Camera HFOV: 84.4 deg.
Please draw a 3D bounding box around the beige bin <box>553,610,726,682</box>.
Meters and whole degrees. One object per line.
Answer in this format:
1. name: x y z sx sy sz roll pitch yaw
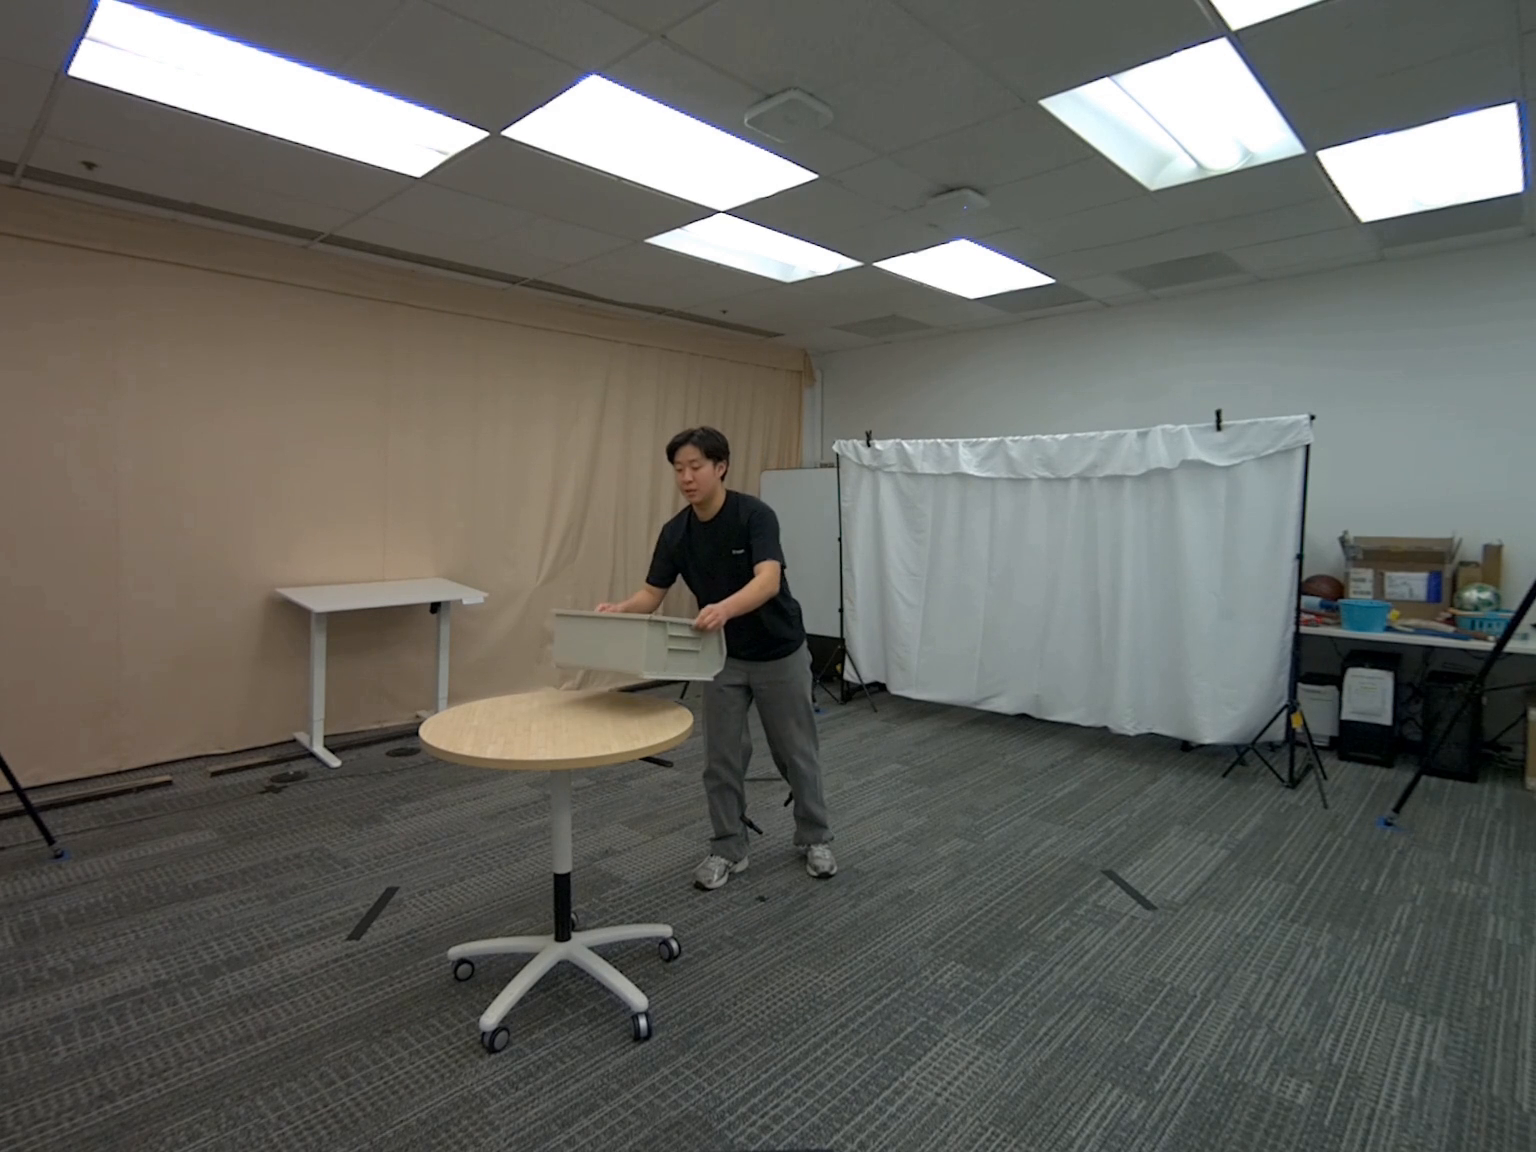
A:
1. beige bin: -0.395 0.226 2.641 0.436 0.189 0.365 1 -3 37
